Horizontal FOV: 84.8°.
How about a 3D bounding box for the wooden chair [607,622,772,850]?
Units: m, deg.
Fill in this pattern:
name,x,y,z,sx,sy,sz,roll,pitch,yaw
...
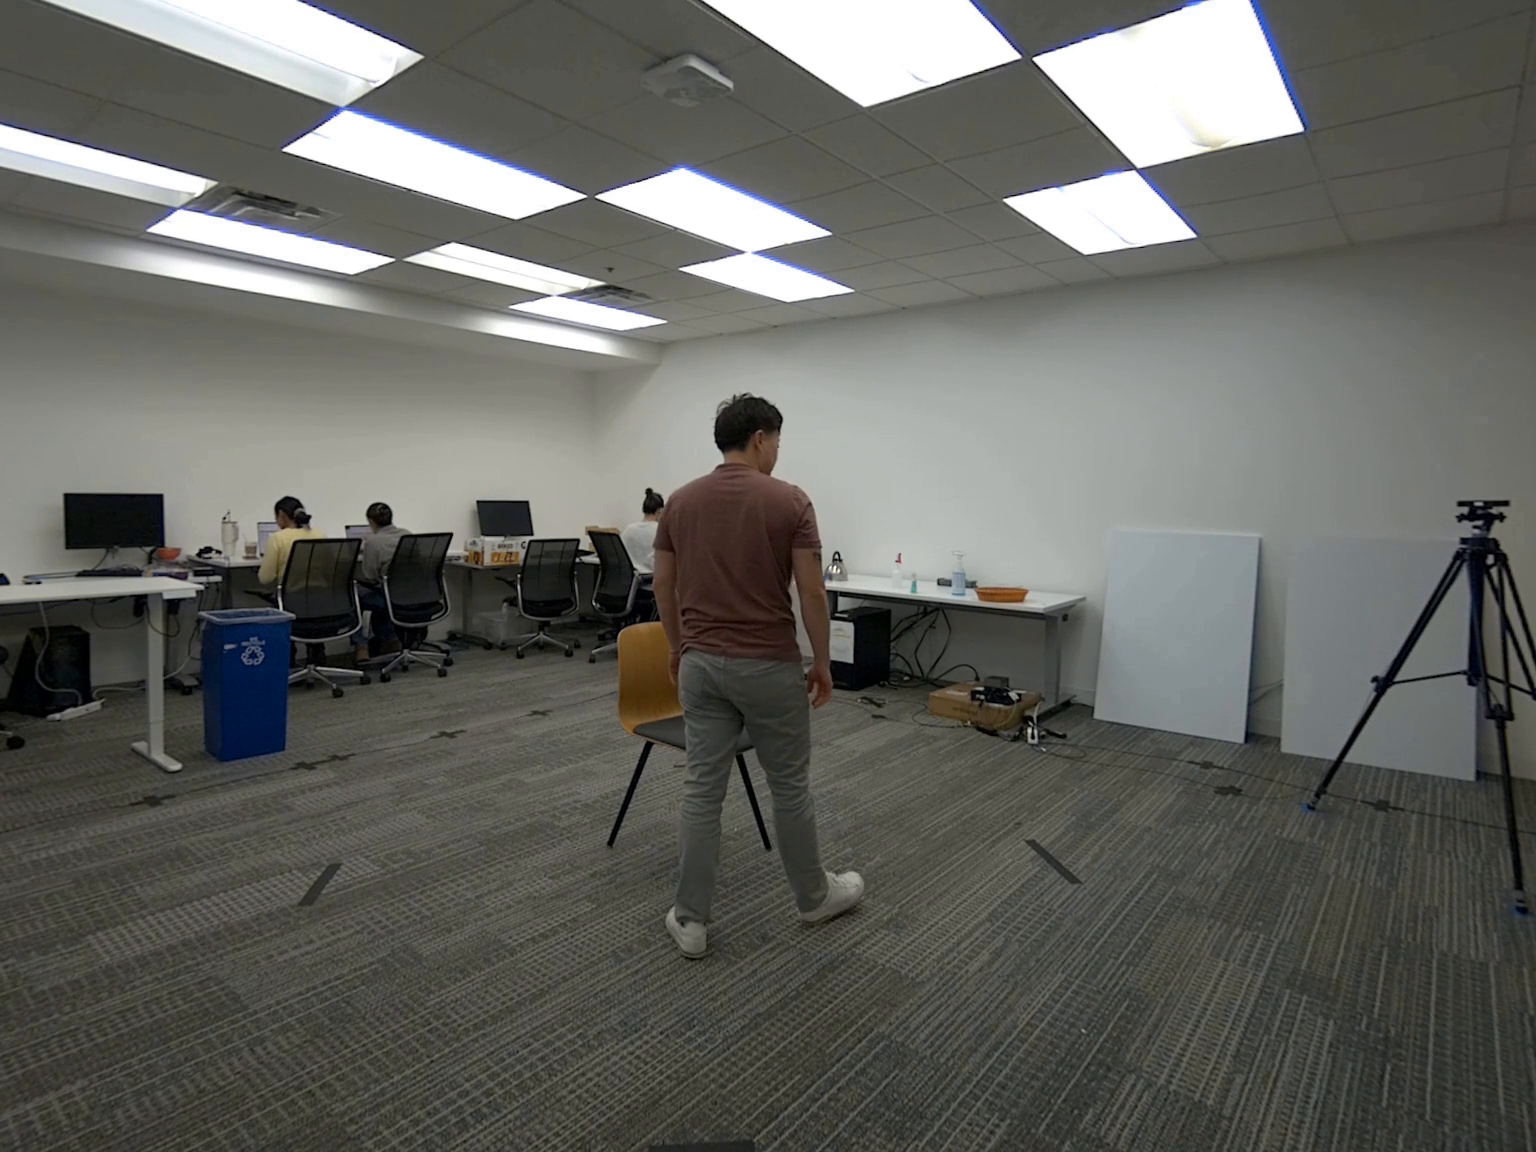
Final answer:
name,x,y,z,sx,sy,sz,roll,pitch,yaw
wooden chair,-0.300,0.625,3.261,0.539,0.878,0.463,-2,-1,44
